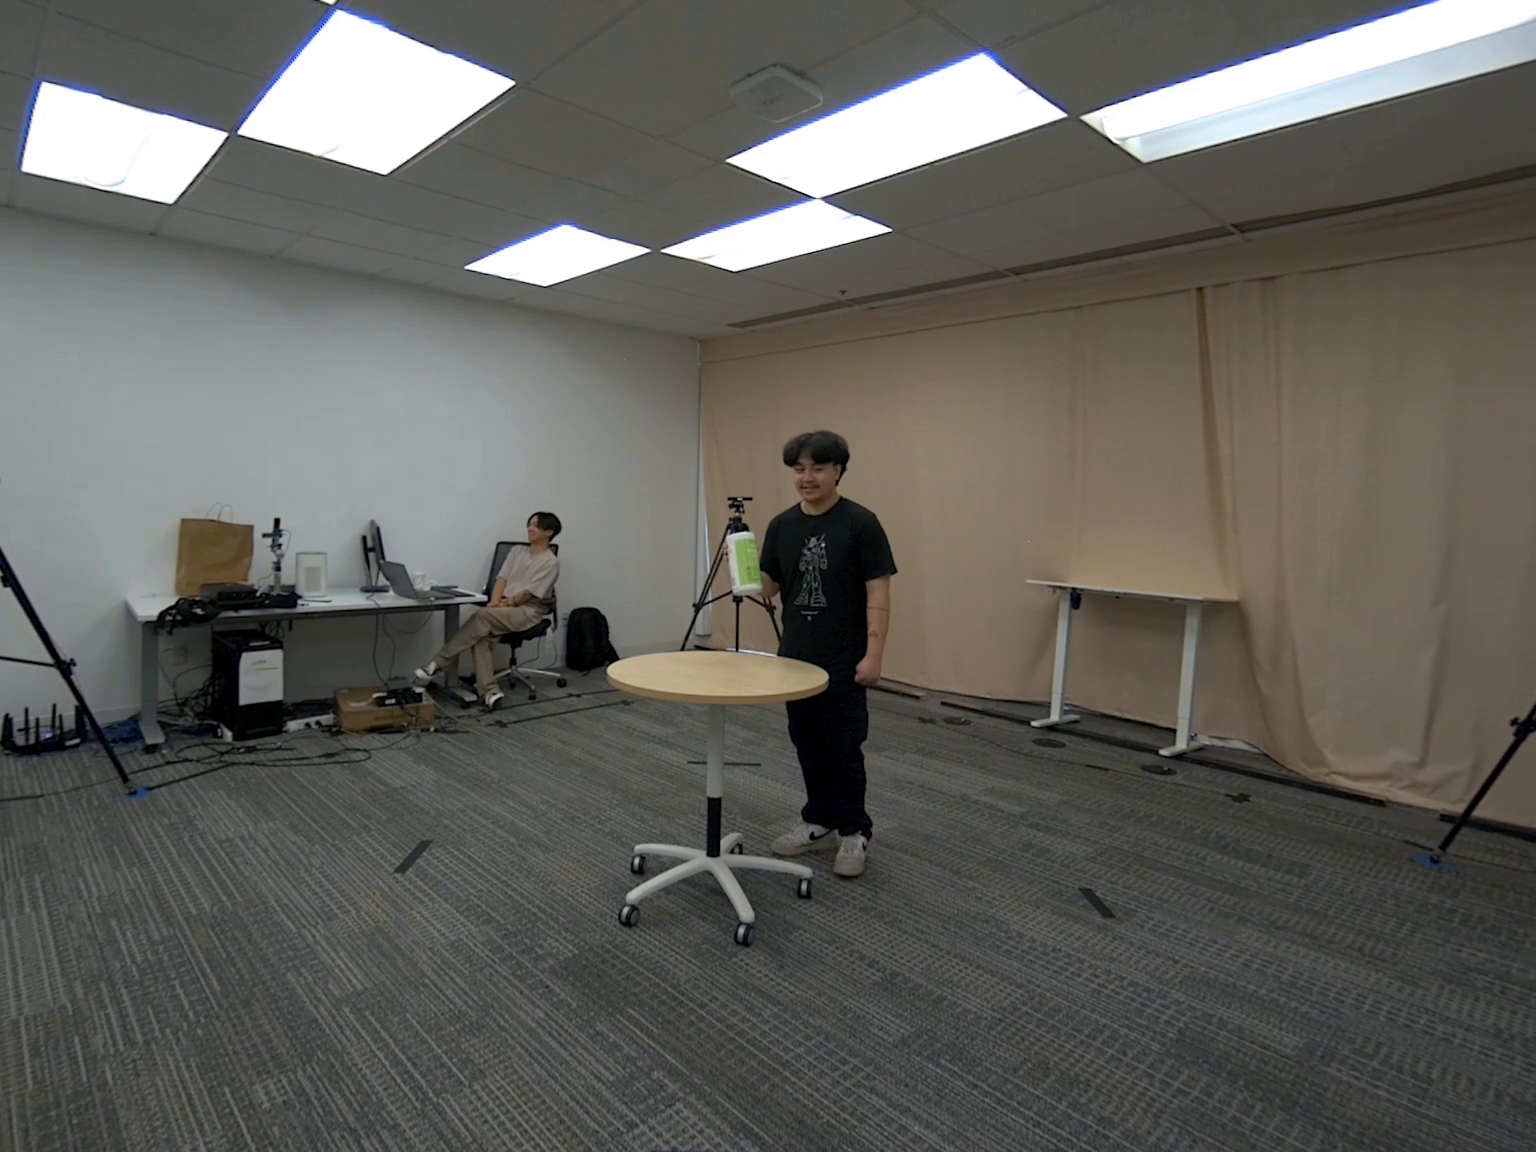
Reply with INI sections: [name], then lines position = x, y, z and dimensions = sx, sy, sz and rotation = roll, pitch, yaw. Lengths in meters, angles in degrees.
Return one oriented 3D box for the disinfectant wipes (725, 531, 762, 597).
[disinfectant wipes]
position = -0.094, -0.047, 3.063
dimensions = 0.117, 0.219, 0.117
rotation = -6, -10, -2
